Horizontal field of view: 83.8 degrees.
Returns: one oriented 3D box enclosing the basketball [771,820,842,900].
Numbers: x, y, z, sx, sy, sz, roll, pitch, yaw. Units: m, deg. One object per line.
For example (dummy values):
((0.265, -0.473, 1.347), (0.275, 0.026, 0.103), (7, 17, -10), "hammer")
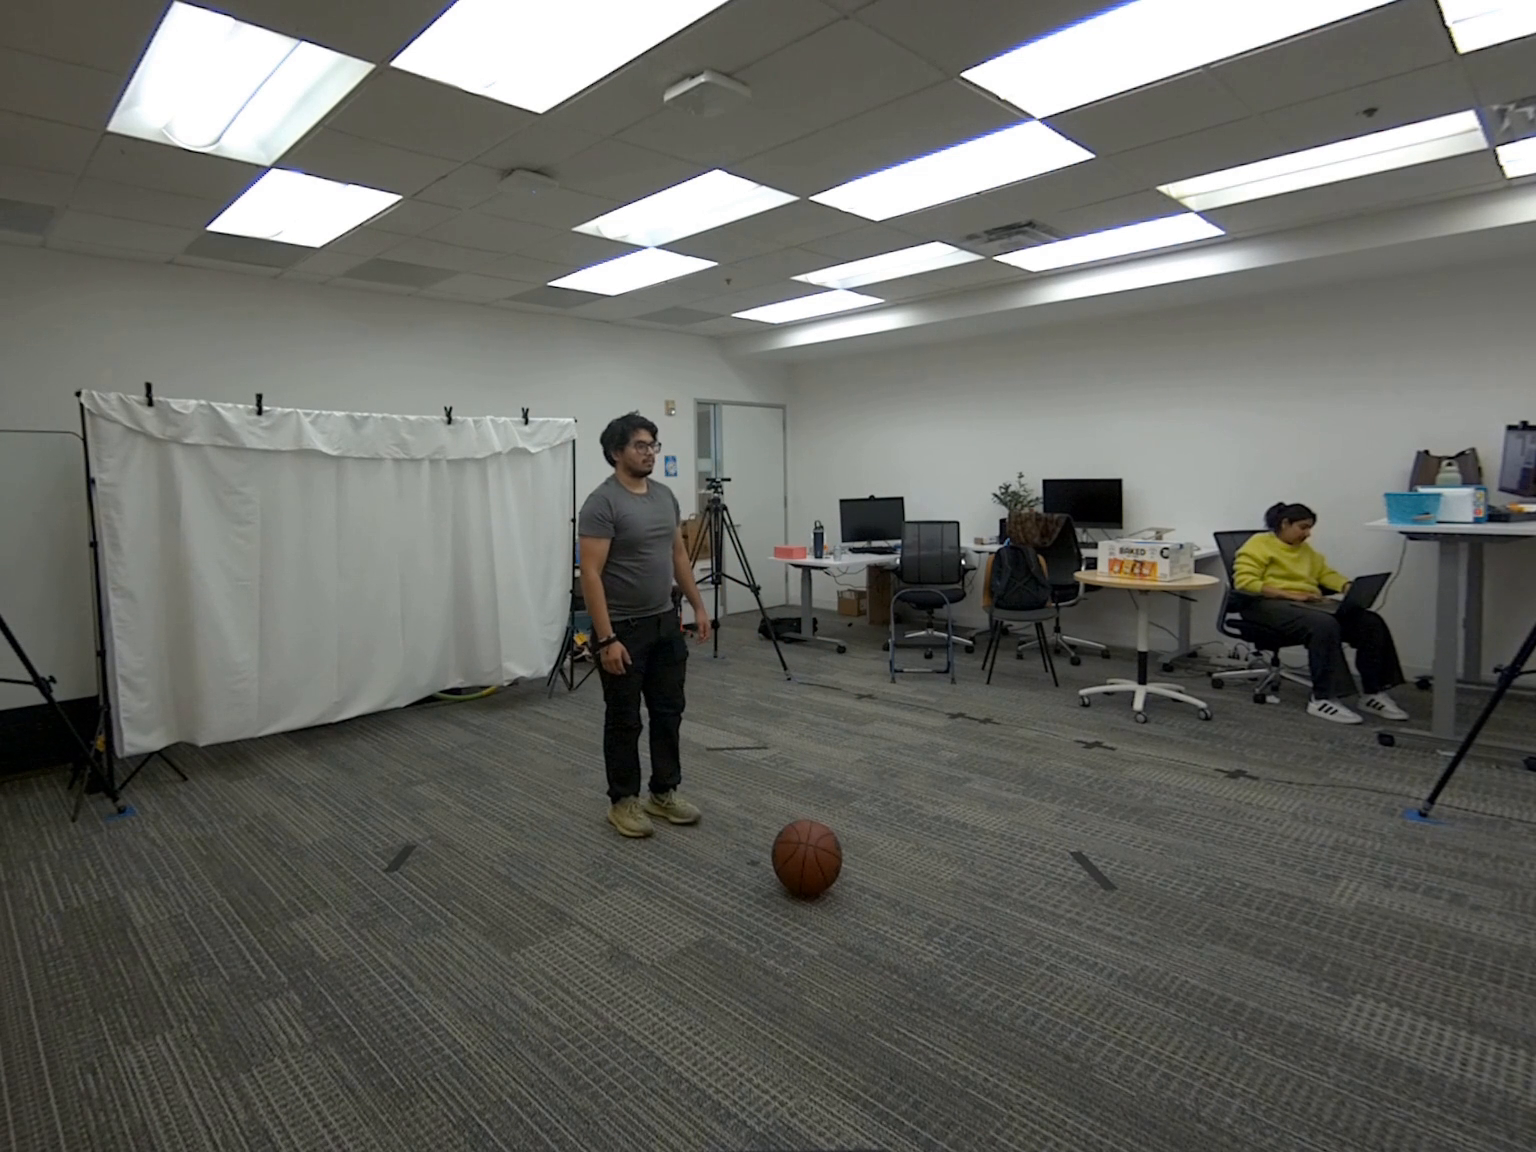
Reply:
((0.131, 0.943, 2.878), (0.236, 0.235, 0.237), (-1, 5, -2), "basketball")
